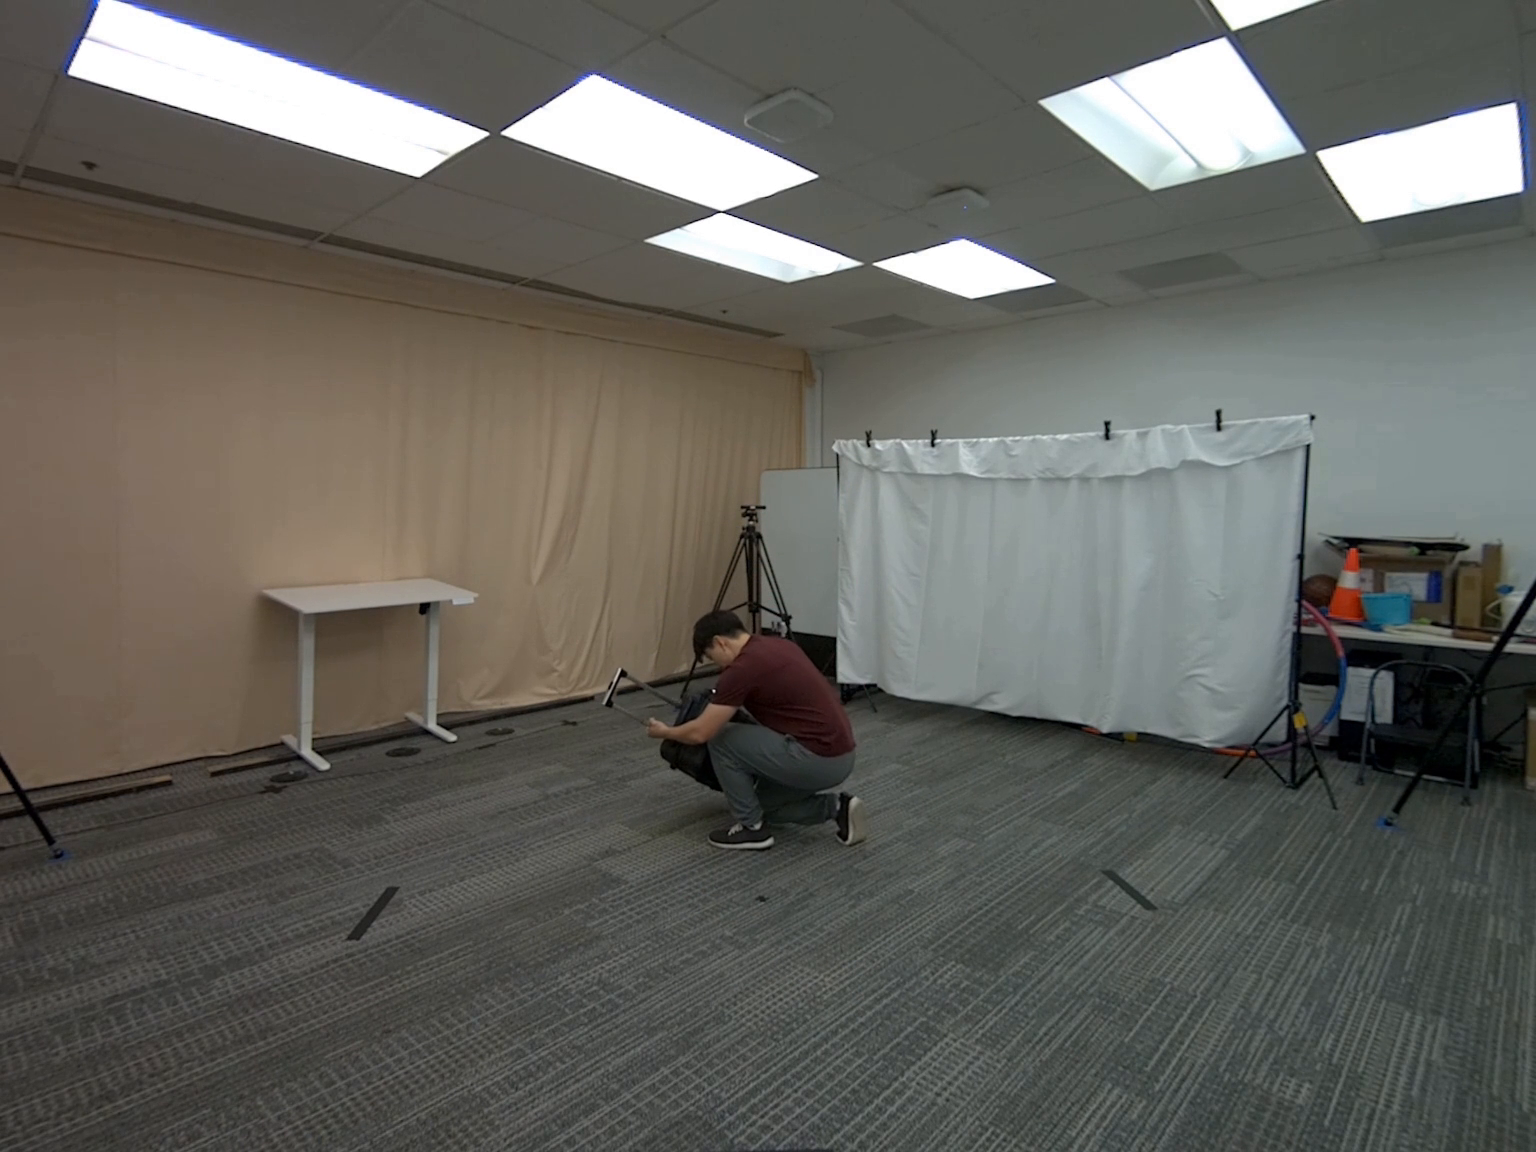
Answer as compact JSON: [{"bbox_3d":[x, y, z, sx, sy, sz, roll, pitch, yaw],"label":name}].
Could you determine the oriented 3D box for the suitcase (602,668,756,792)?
[{"bbox_3d":[-0.312,0.660,3.631,0.266,0.384,0.944,15,-18,35],"label":"suitcase"}]
